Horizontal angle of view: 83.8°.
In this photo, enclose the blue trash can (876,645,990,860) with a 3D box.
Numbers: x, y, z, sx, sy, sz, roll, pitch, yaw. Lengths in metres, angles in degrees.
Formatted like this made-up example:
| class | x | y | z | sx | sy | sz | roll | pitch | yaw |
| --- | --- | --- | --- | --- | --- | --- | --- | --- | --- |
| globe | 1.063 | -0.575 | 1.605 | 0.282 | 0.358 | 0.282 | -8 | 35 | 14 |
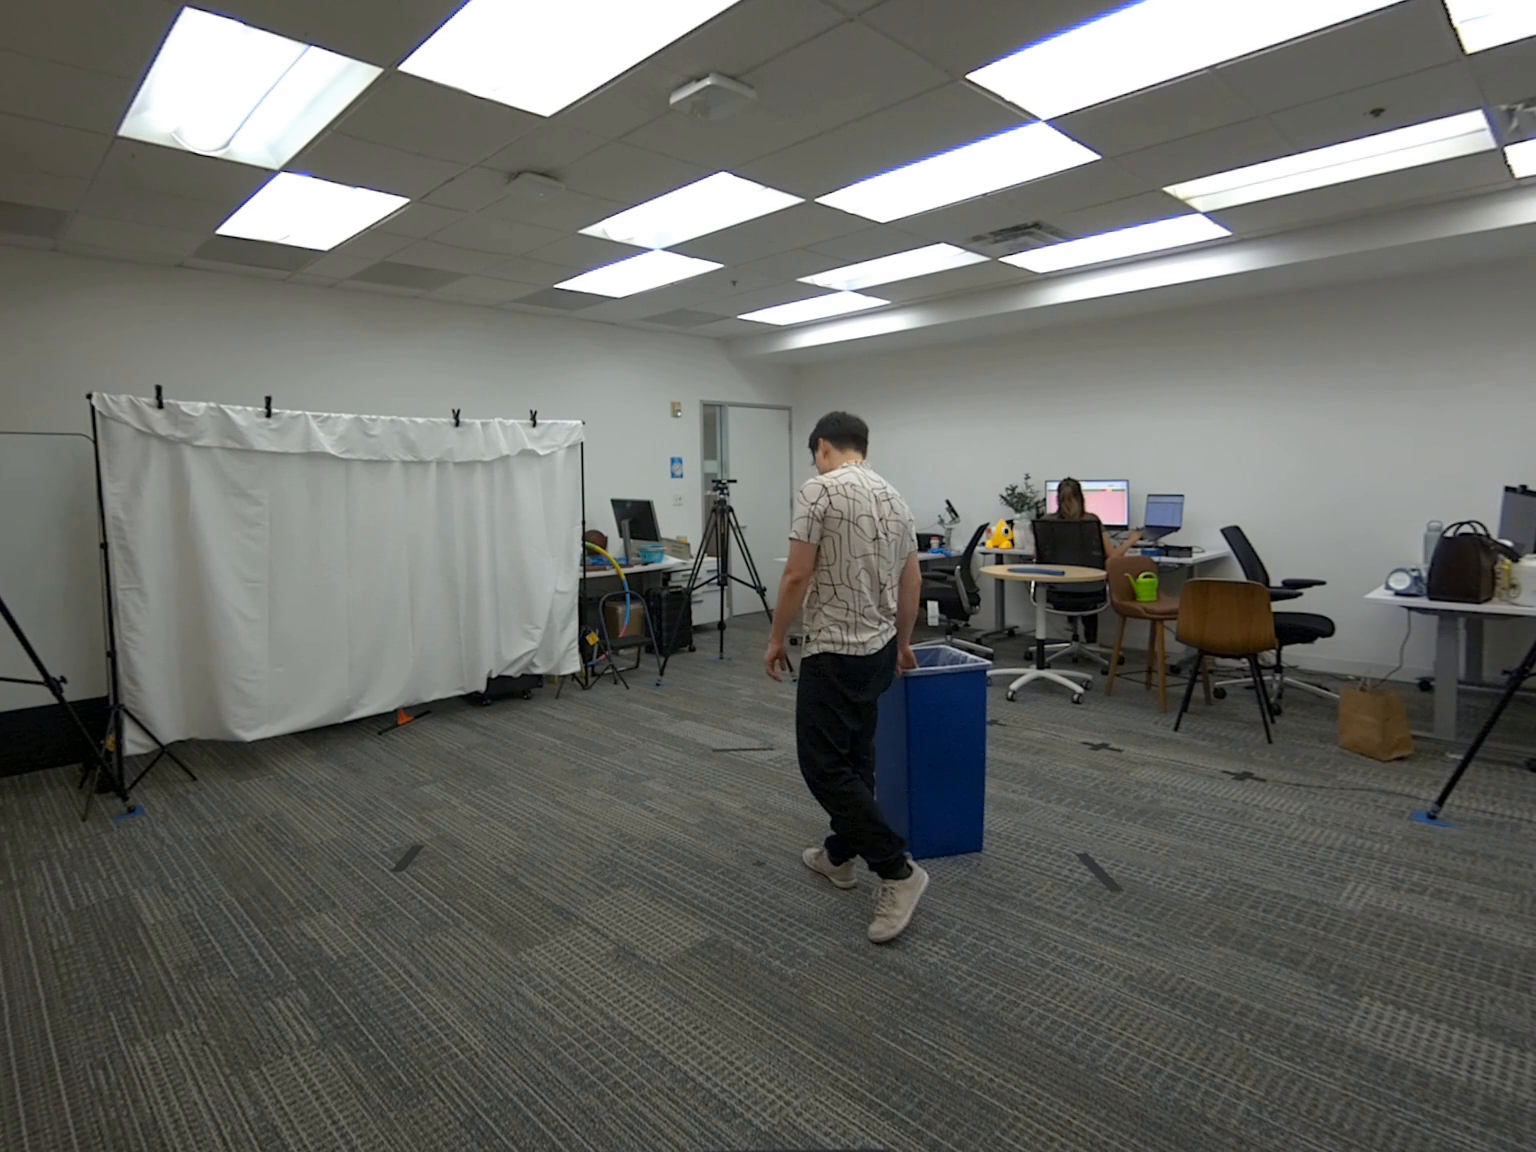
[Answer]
| class | x | y | z | sx | sy | sz | roll | pitch | yaw |
| --- | --- | --- | --- | --- | --- | --- | --- | --- | --- |
| blue trash can | 0.611 | 0.661 | 3.265 | 0.369 | 0.711 | 0.385 | -2 | 4 | -16 |
